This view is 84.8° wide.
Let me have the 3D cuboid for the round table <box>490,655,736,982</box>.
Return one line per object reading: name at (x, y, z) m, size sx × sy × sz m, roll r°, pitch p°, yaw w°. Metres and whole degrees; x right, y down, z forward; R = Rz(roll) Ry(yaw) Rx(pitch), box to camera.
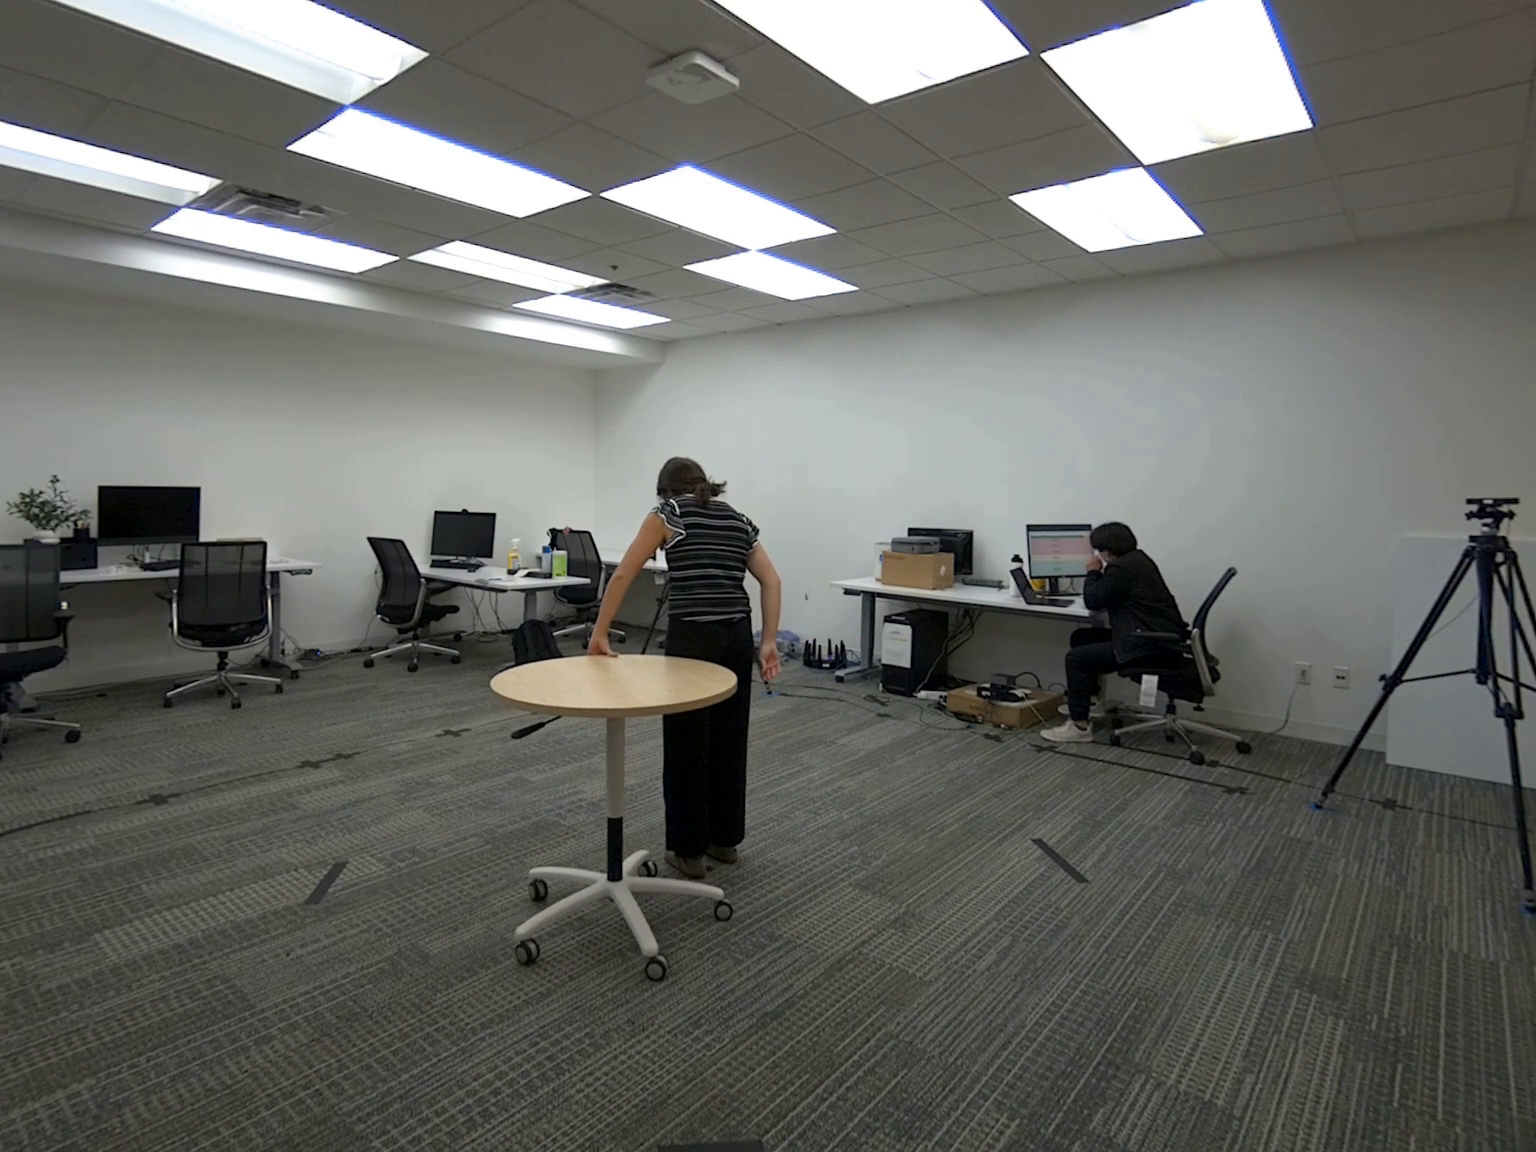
round table at (-0.486, 0.707, 2.707) m, size 0.784 × 0.784 × 0.789 m, roll 0°, pitch 4°, yaw -2°
